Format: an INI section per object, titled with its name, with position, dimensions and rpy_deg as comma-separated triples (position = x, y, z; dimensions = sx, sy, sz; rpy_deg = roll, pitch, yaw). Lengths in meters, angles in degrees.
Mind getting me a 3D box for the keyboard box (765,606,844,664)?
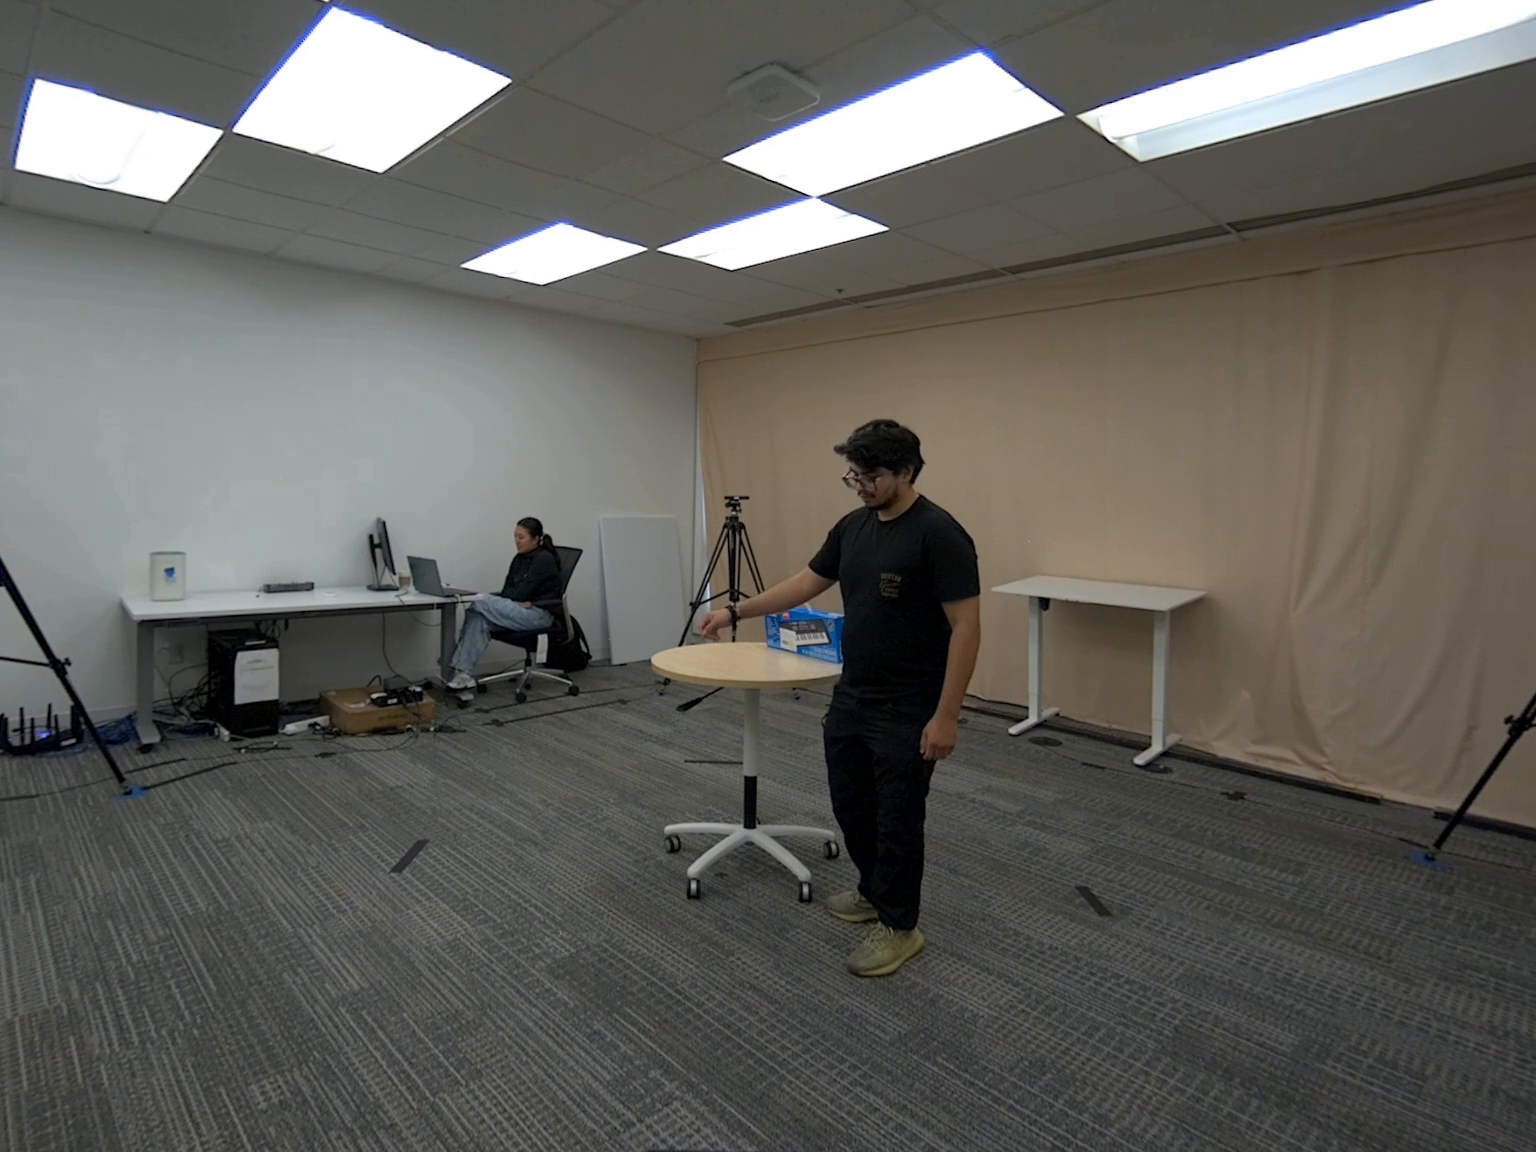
[keyboard box]
position = 0.139, 0.222, 3.289
dimensions = 0.058, 0.175, 0.447
rpy_deg = -8, 9, -35
